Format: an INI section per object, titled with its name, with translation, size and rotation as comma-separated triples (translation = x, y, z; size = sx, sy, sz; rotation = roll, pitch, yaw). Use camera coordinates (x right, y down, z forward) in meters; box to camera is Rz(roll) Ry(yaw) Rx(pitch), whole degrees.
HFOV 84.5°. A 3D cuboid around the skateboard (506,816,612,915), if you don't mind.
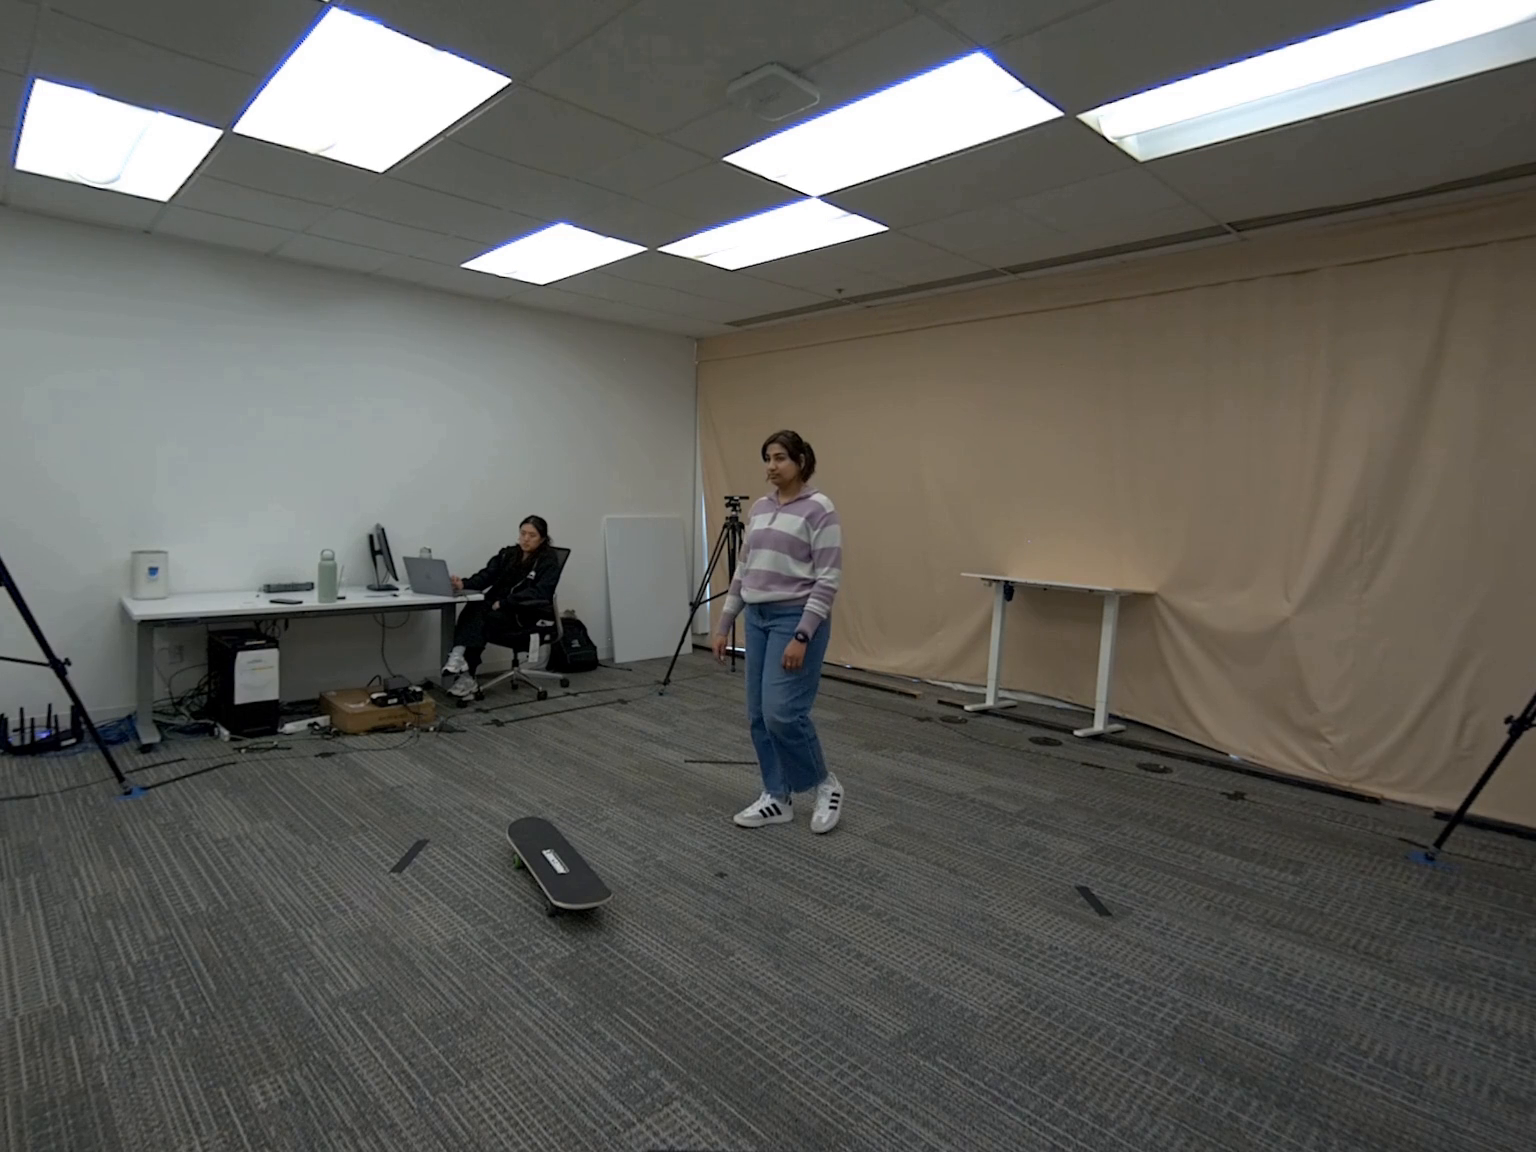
[skateboard]
translation = -0.763, 1.047, 2.985
size = 0.189, 0.110, 0.804
rotation = -1, 6, -31
